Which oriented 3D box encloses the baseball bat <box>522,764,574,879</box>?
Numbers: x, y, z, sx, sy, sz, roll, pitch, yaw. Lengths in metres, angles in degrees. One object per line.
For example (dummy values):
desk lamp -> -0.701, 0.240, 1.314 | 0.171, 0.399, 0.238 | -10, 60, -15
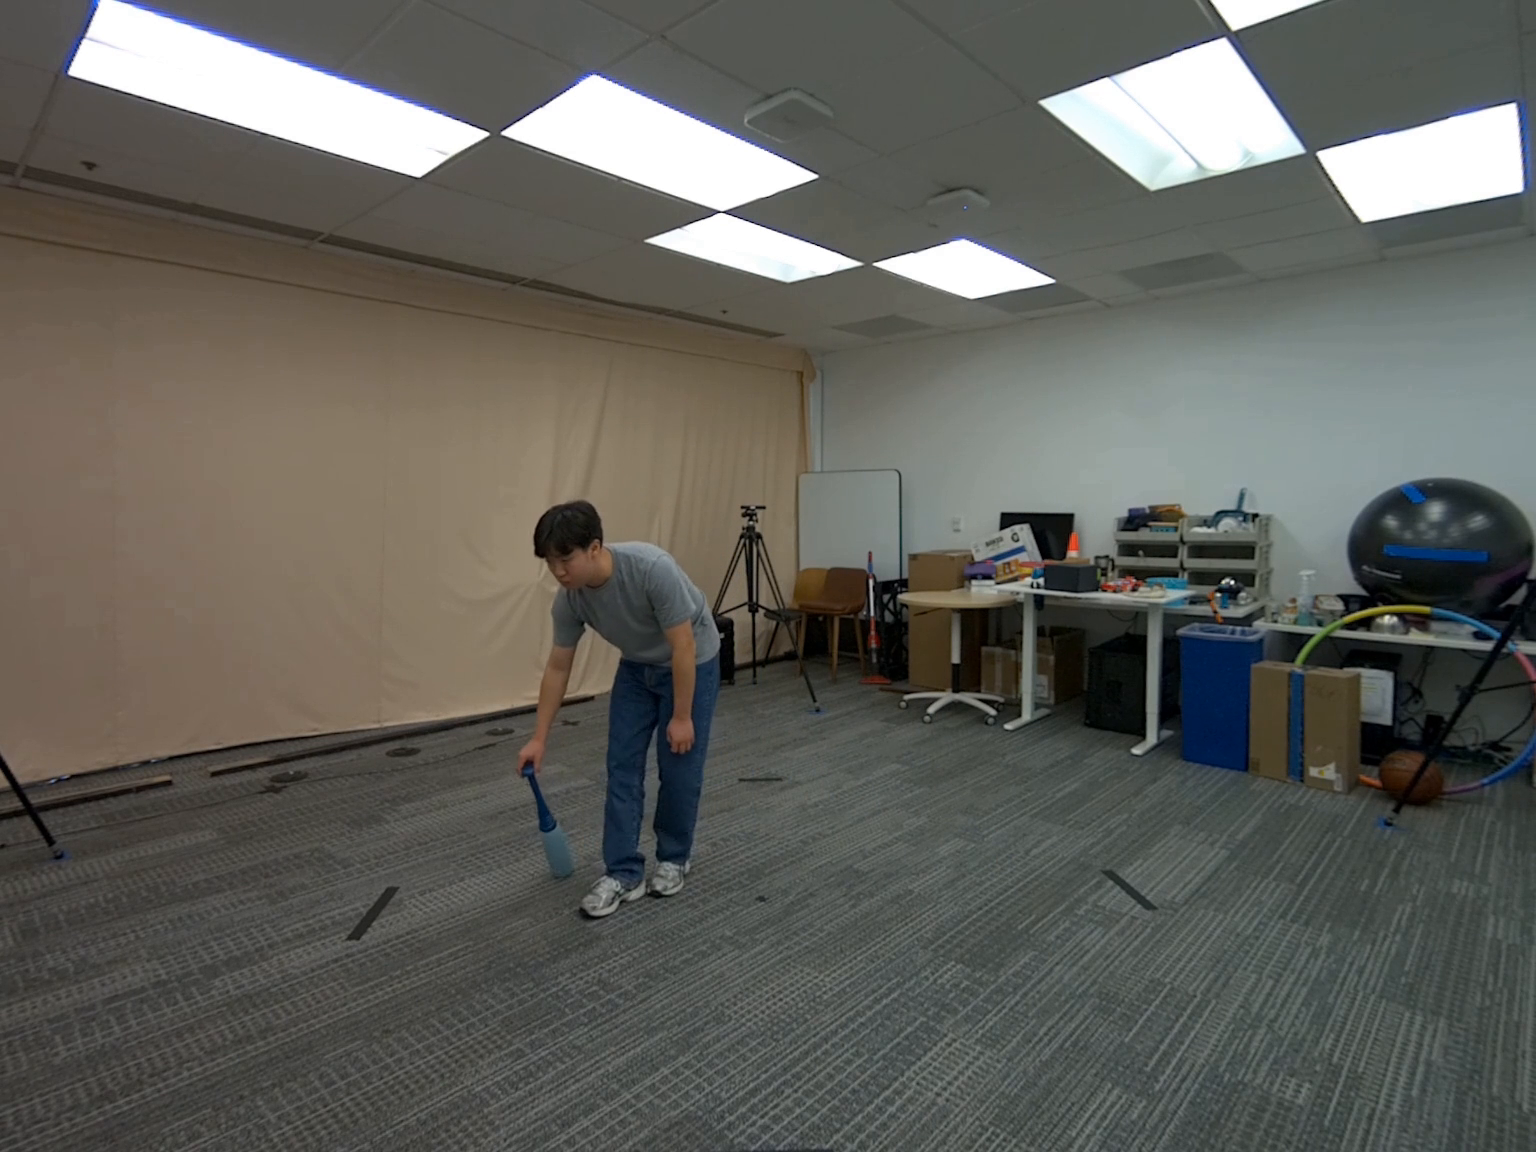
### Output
baseball bat -> -0.804, 0.901, 3.065 | 0.089, 0.532, 0.090 | -5, 30, 1
